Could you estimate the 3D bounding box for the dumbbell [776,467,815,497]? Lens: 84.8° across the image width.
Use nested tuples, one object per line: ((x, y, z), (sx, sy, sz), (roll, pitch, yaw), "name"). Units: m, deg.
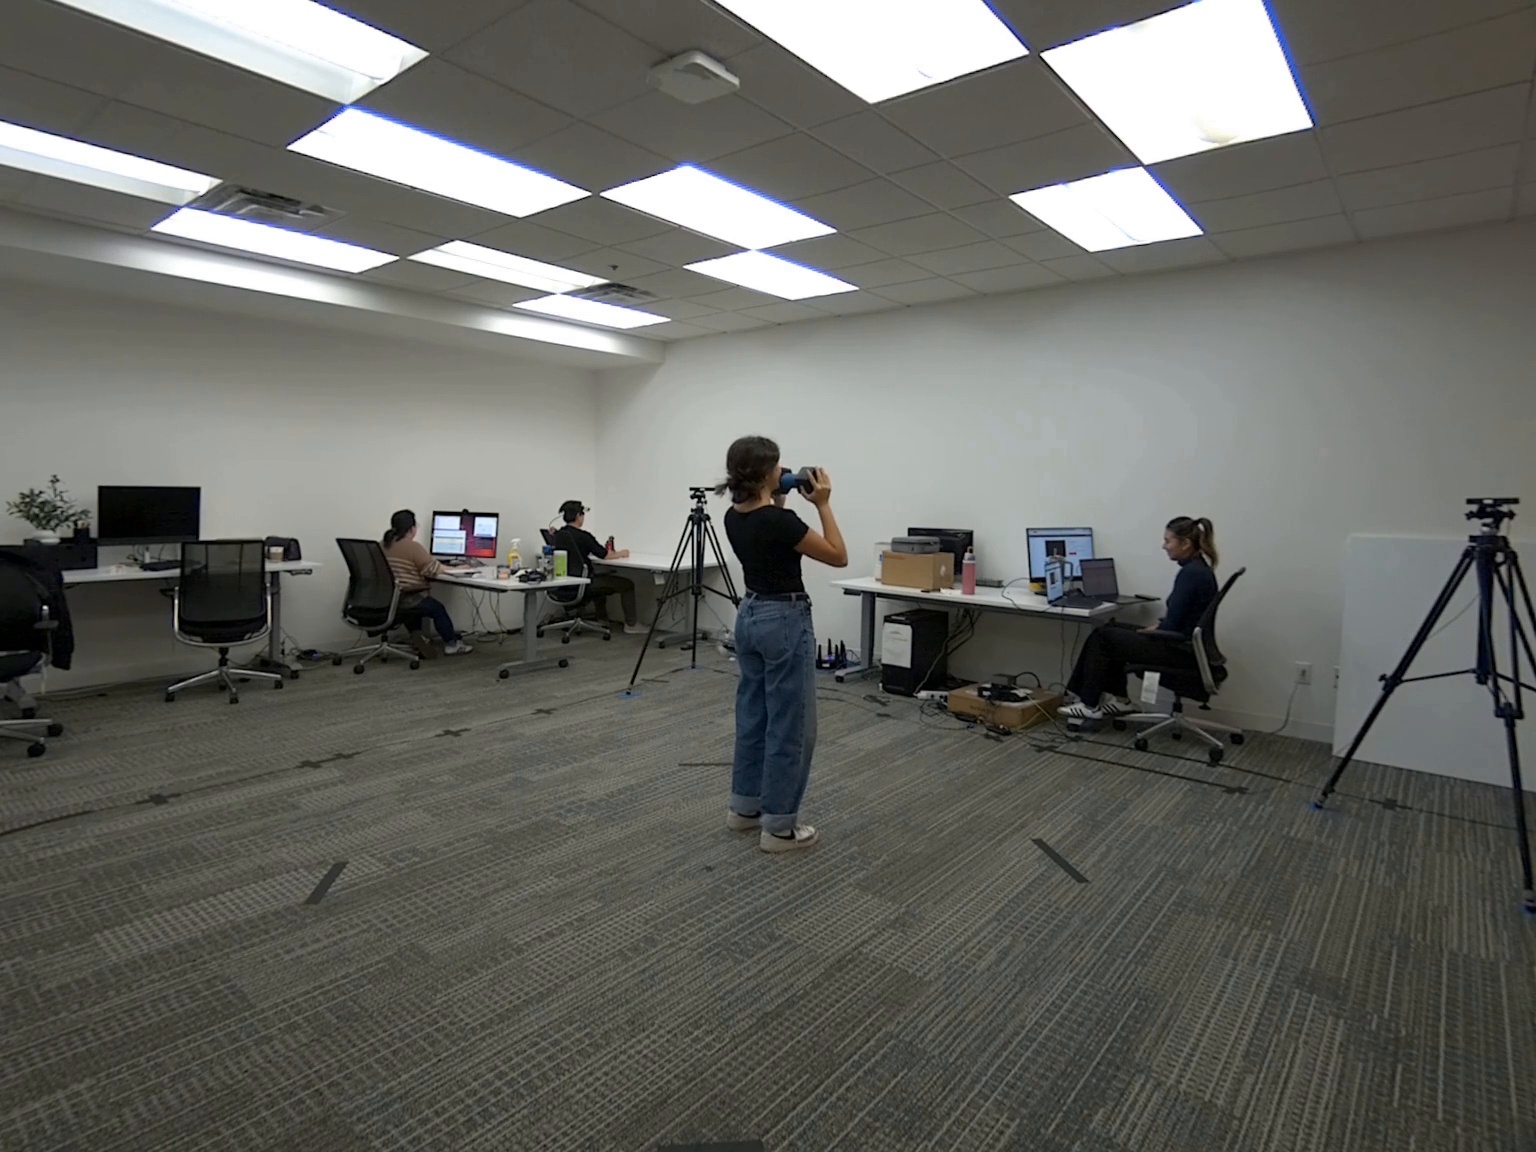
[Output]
((0.091, -0.389, 3.384), (0.105, 0.123, 0.303), (42, -18, -28), "dumbbell")
